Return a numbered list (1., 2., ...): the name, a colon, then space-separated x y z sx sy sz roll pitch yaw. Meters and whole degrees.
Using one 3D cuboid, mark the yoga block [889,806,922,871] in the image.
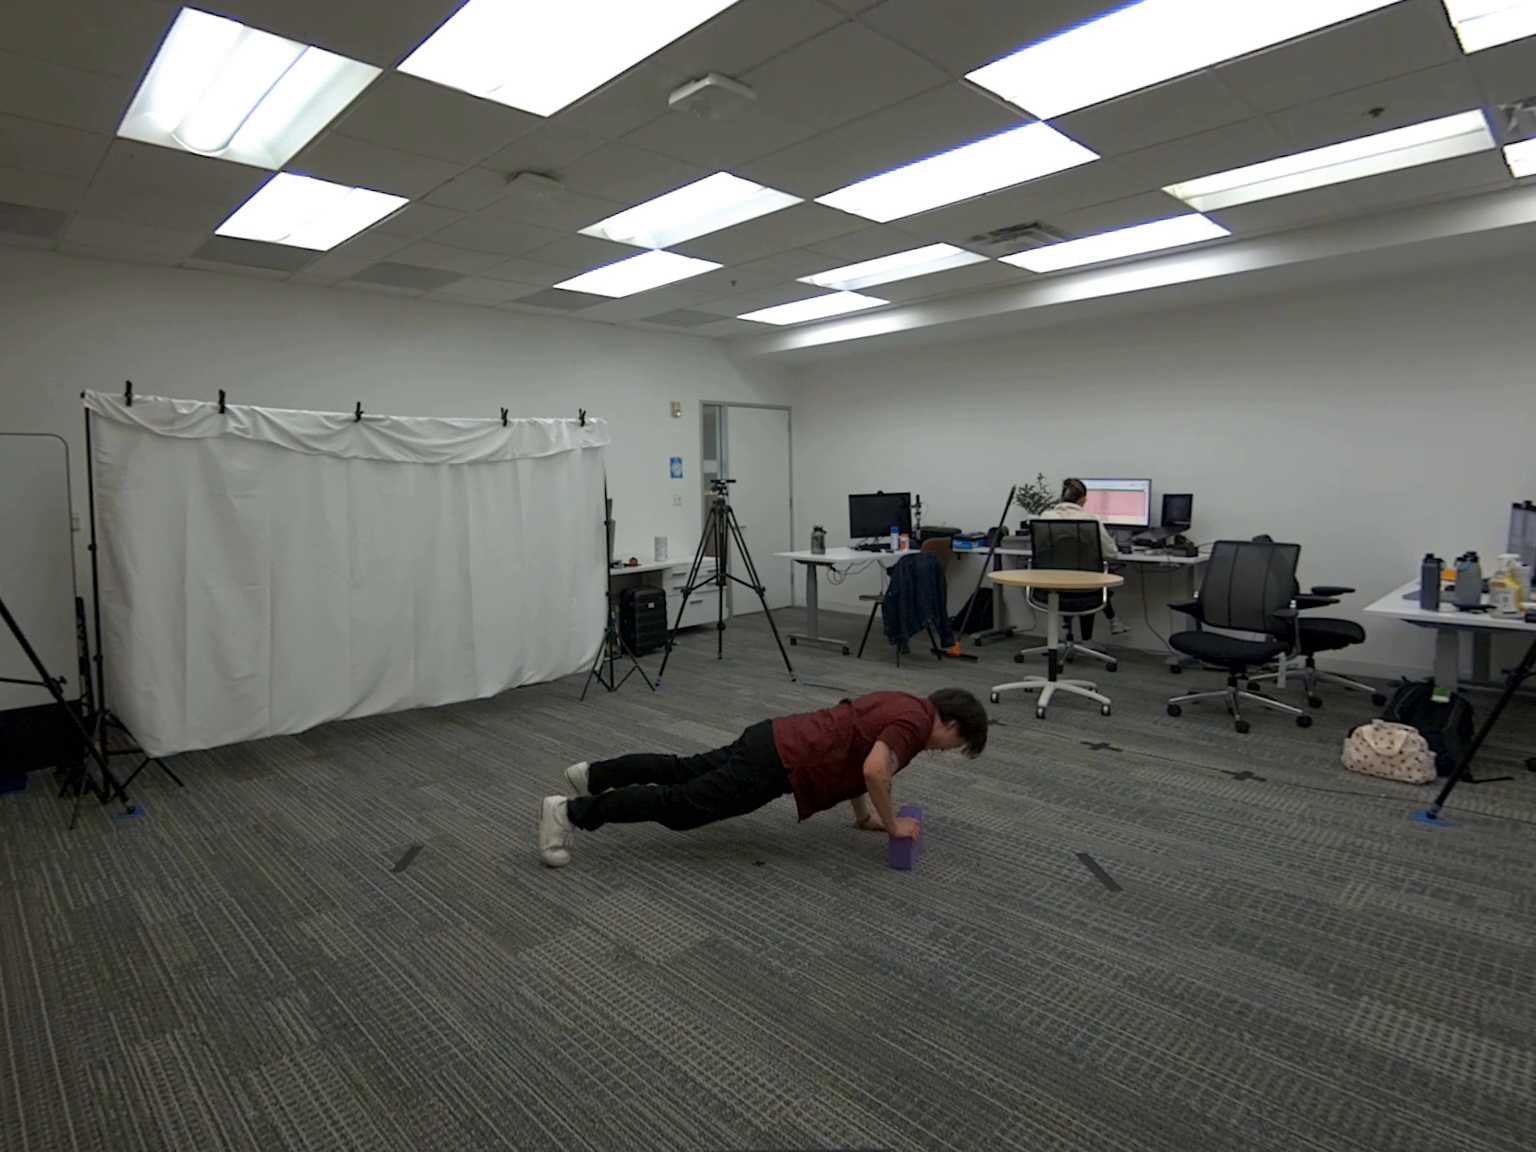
1. yoga block: 0.497 0.953 3.139 0.078 0.149 0.225 2 3 20
